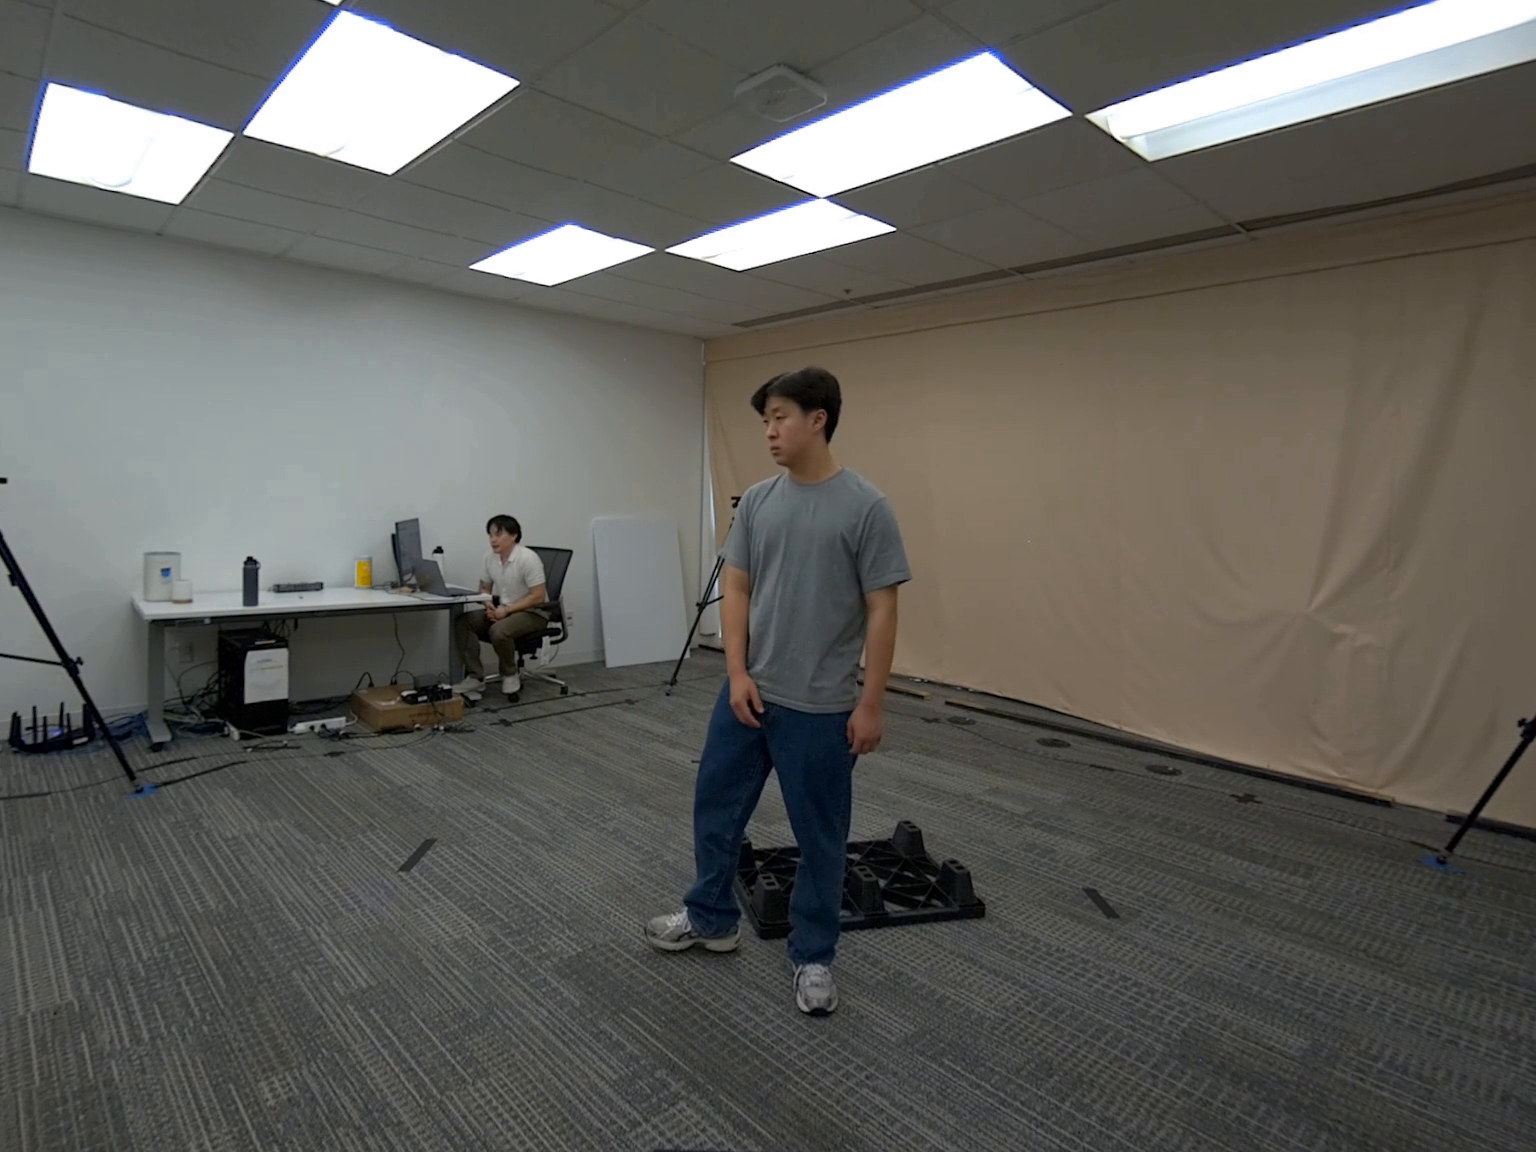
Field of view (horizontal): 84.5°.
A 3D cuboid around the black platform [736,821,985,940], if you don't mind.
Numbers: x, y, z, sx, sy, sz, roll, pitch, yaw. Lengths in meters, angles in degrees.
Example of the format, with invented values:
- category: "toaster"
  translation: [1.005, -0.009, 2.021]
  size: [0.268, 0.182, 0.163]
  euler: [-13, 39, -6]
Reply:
- category: "black platform"
  translation: [0.271, 1.053, 3.035]
  size: [0.796, 0.143, 0.614]
  euler: [0, 6, -16]
